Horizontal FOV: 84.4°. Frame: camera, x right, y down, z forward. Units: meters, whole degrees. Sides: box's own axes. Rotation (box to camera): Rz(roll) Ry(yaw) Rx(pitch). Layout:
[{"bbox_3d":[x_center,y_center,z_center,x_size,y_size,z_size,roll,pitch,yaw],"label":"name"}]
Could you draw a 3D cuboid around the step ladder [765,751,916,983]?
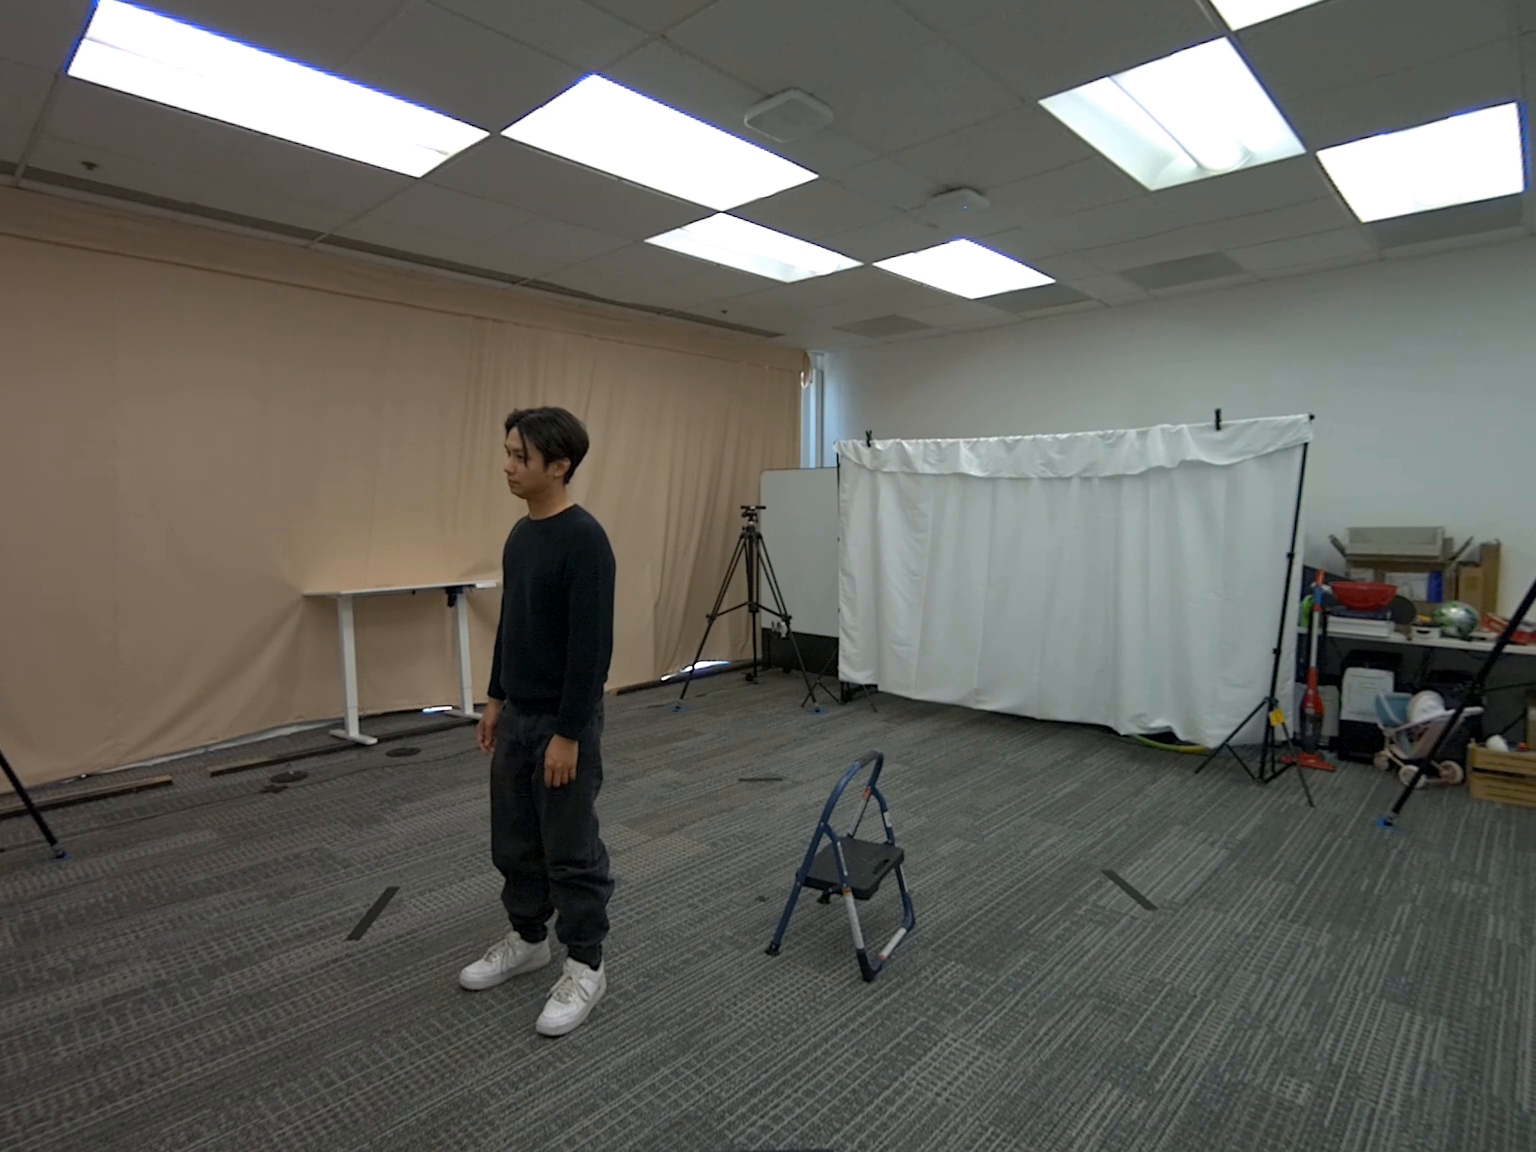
[{"bbox_3d":[0.244,0.863,2.697,0.359,0.605,0.419,1,4,29],"label":"step ladder"}]
